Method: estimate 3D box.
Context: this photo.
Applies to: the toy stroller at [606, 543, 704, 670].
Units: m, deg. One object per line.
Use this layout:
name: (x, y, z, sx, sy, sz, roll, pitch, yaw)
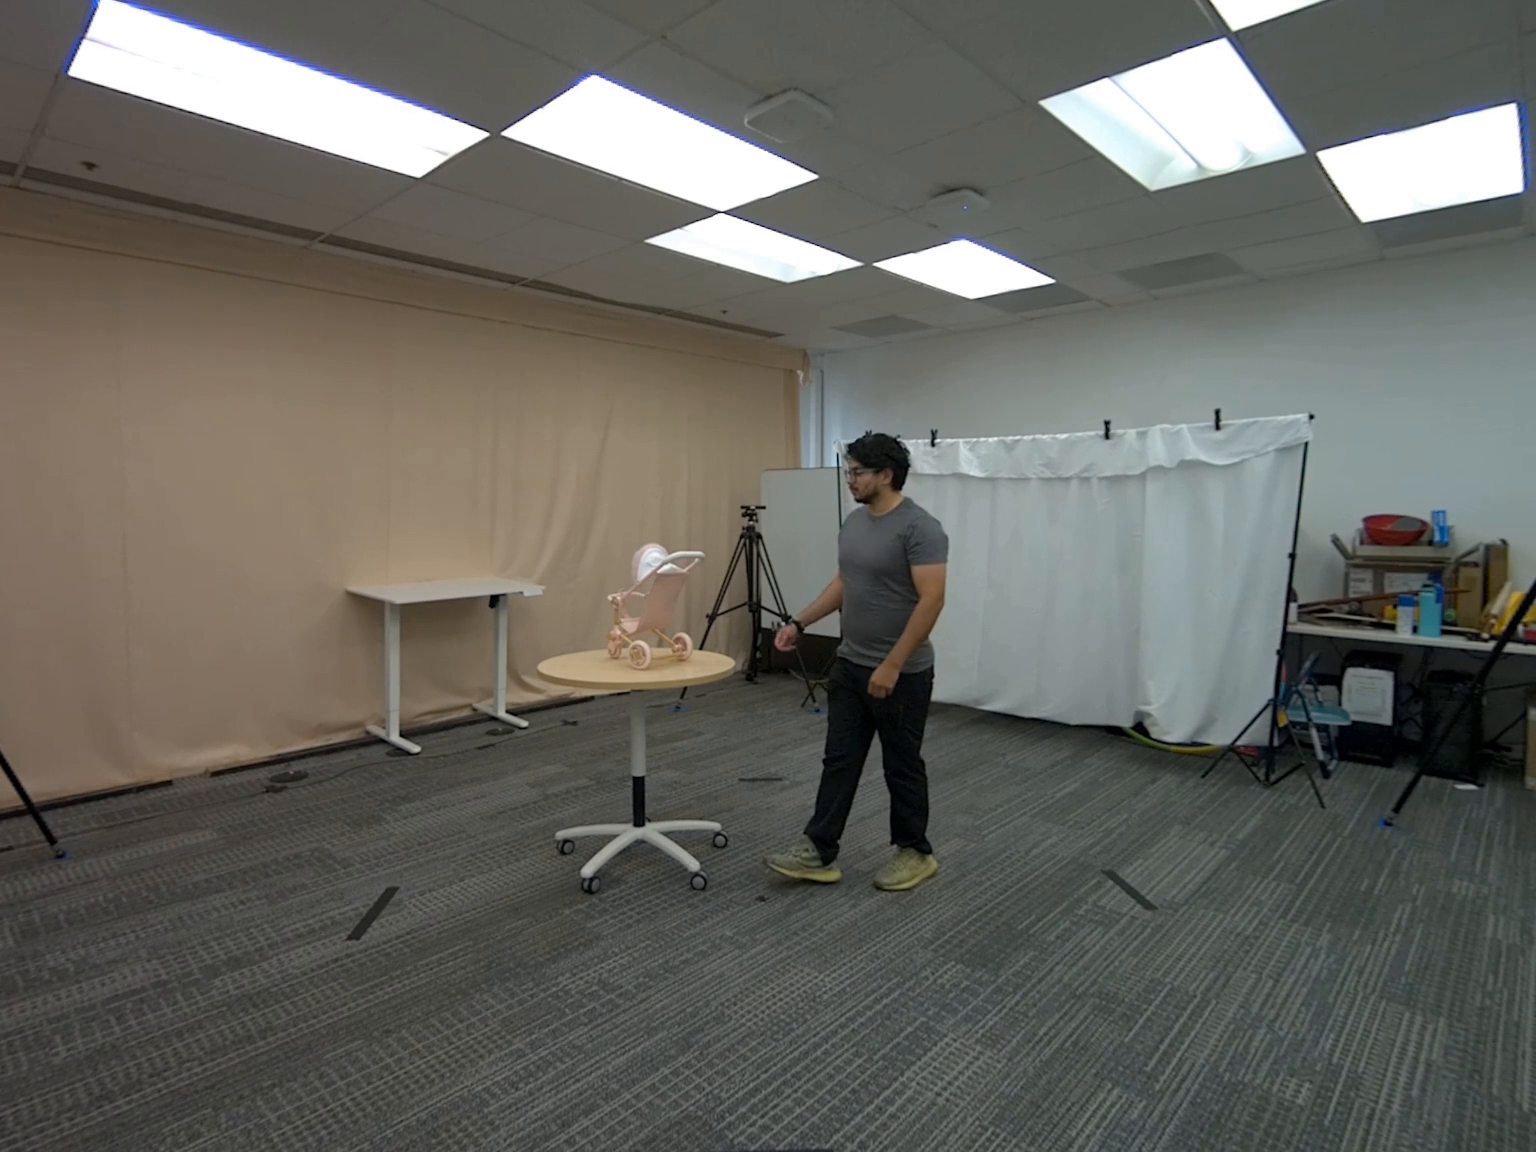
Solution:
toy stroller: (-0.464, 0.119, 3.282, 0.353, 0.532, 0.273, 21, 14, 37)
